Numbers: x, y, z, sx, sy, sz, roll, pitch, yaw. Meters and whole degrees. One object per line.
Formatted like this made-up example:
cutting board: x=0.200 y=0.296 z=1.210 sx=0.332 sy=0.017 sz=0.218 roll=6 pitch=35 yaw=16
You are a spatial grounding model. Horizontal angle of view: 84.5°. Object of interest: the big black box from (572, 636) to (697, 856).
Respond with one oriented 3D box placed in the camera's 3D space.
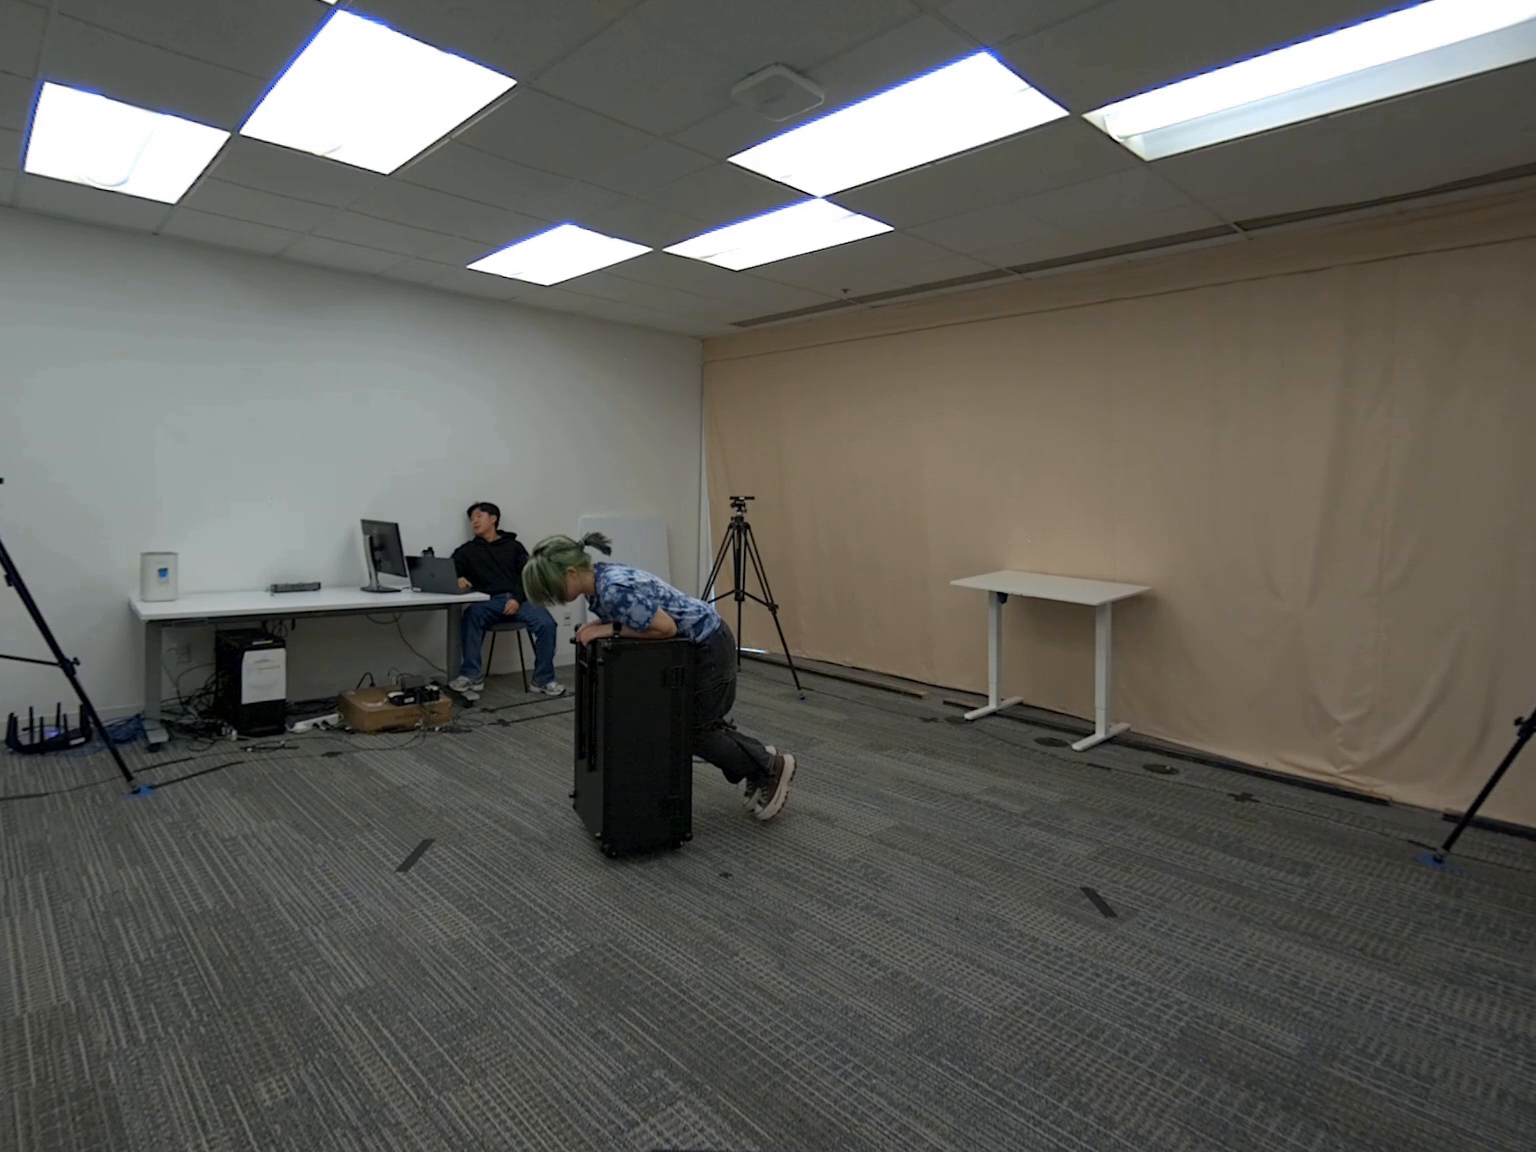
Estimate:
big black box: x=-0.568 y=0.596 z=3.362 sx=0.389 sy=0.859 sz=0.532 roll=-1 pitch=4 yaw=-25
